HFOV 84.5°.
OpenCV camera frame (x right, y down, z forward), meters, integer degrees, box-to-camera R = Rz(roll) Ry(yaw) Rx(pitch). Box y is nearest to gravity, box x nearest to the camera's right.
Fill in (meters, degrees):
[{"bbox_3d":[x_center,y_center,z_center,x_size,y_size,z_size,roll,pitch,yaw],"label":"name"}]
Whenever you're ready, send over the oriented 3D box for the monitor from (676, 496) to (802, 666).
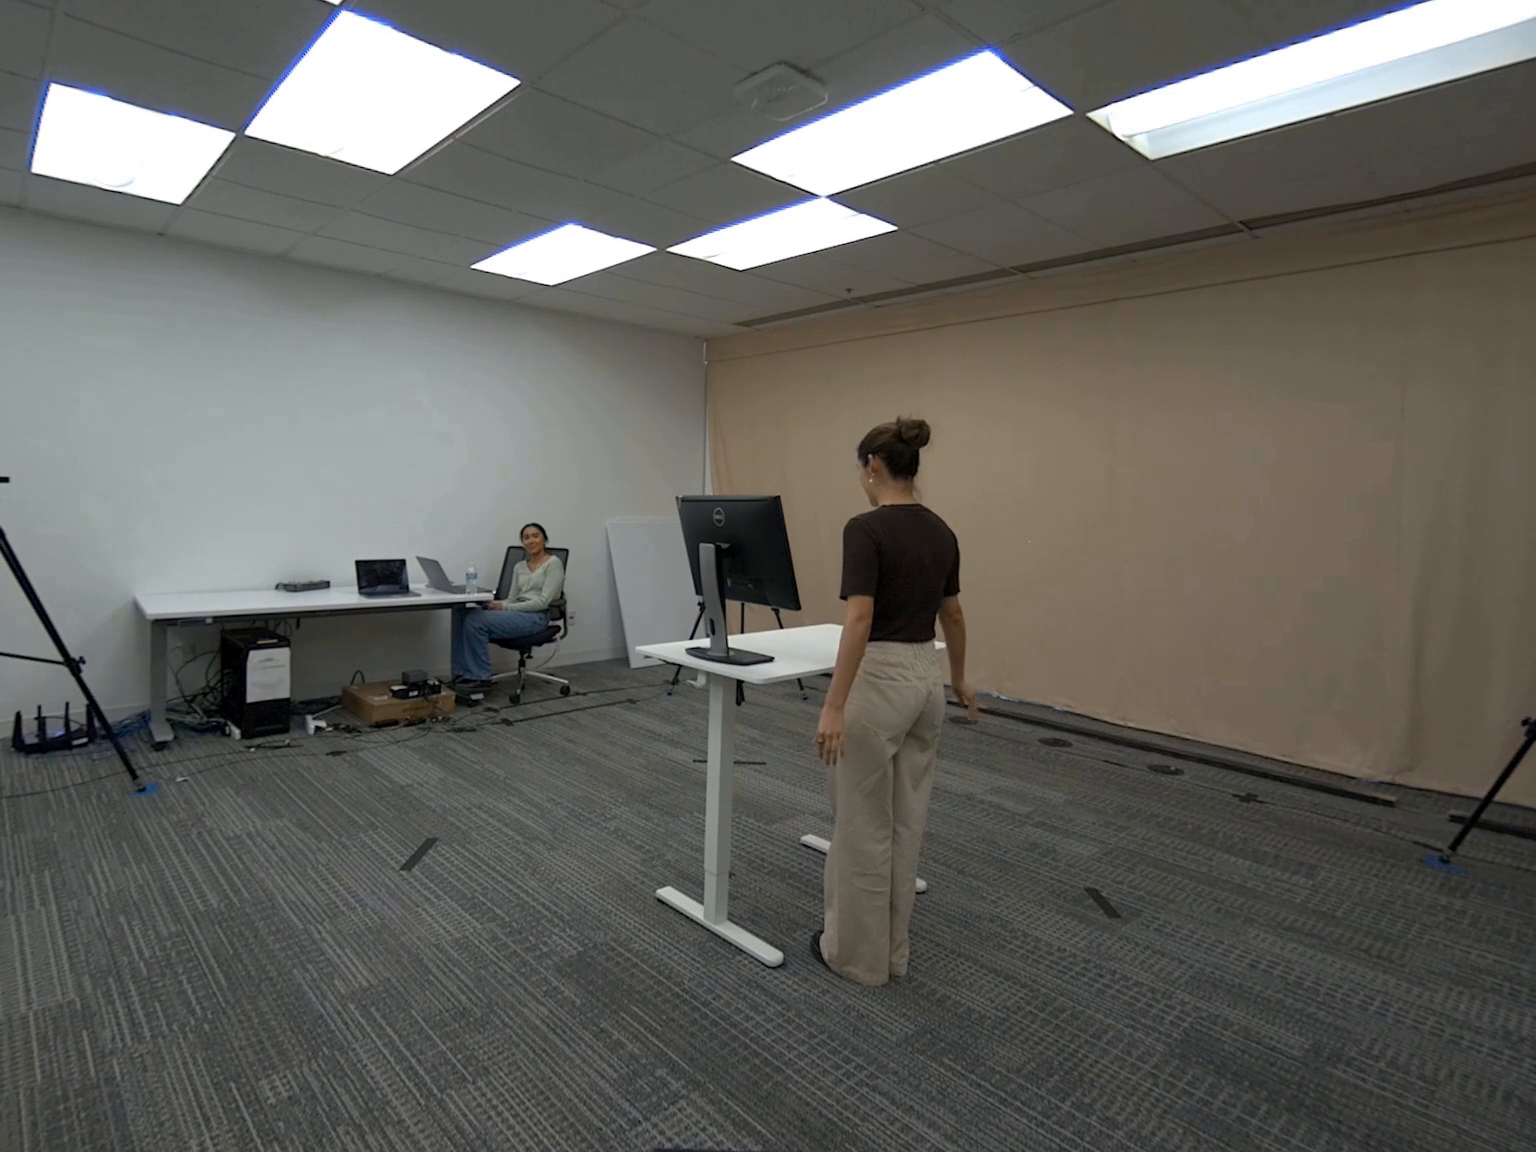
[{"bbox_3d":[-0.139,0.012,2.633,0.183,0.521,0.553,-3,6,-39],"label":"monitor"}]
